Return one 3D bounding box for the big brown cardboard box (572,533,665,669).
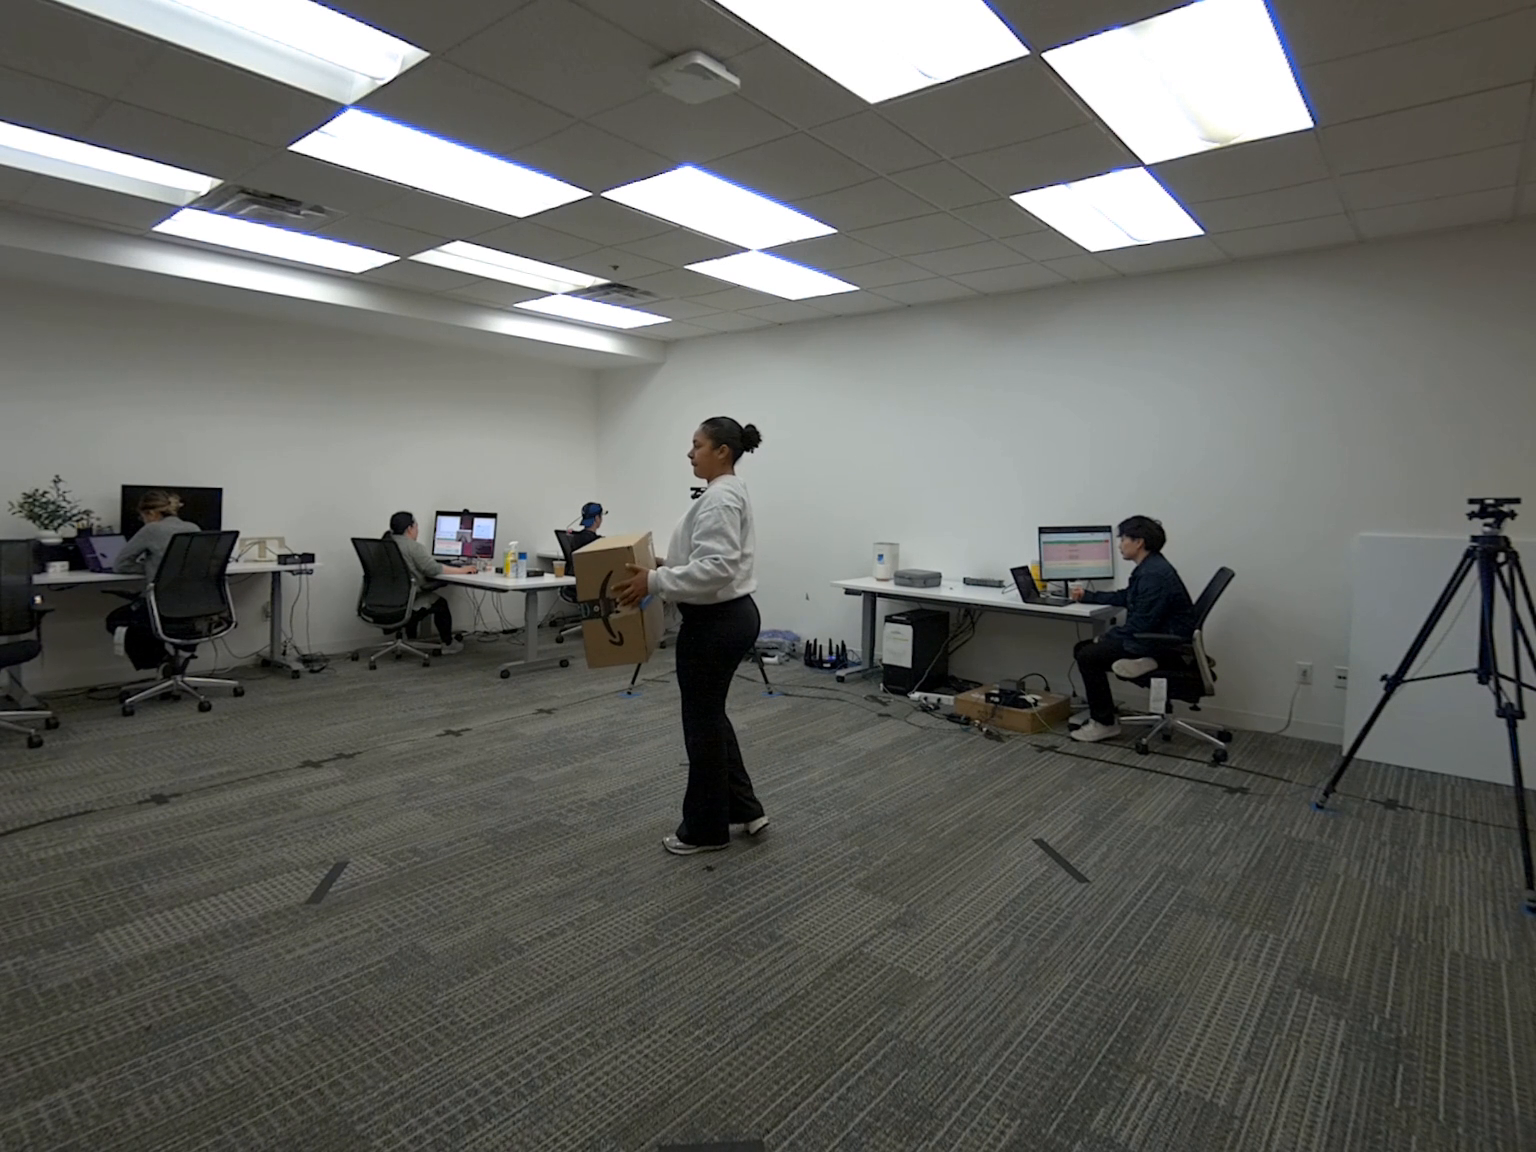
[{"bbox_3d":[-0.558,0.071,3.249,0.234,0.414,0.592,-7,8,1],"label":"big brown cardboard box"}]
